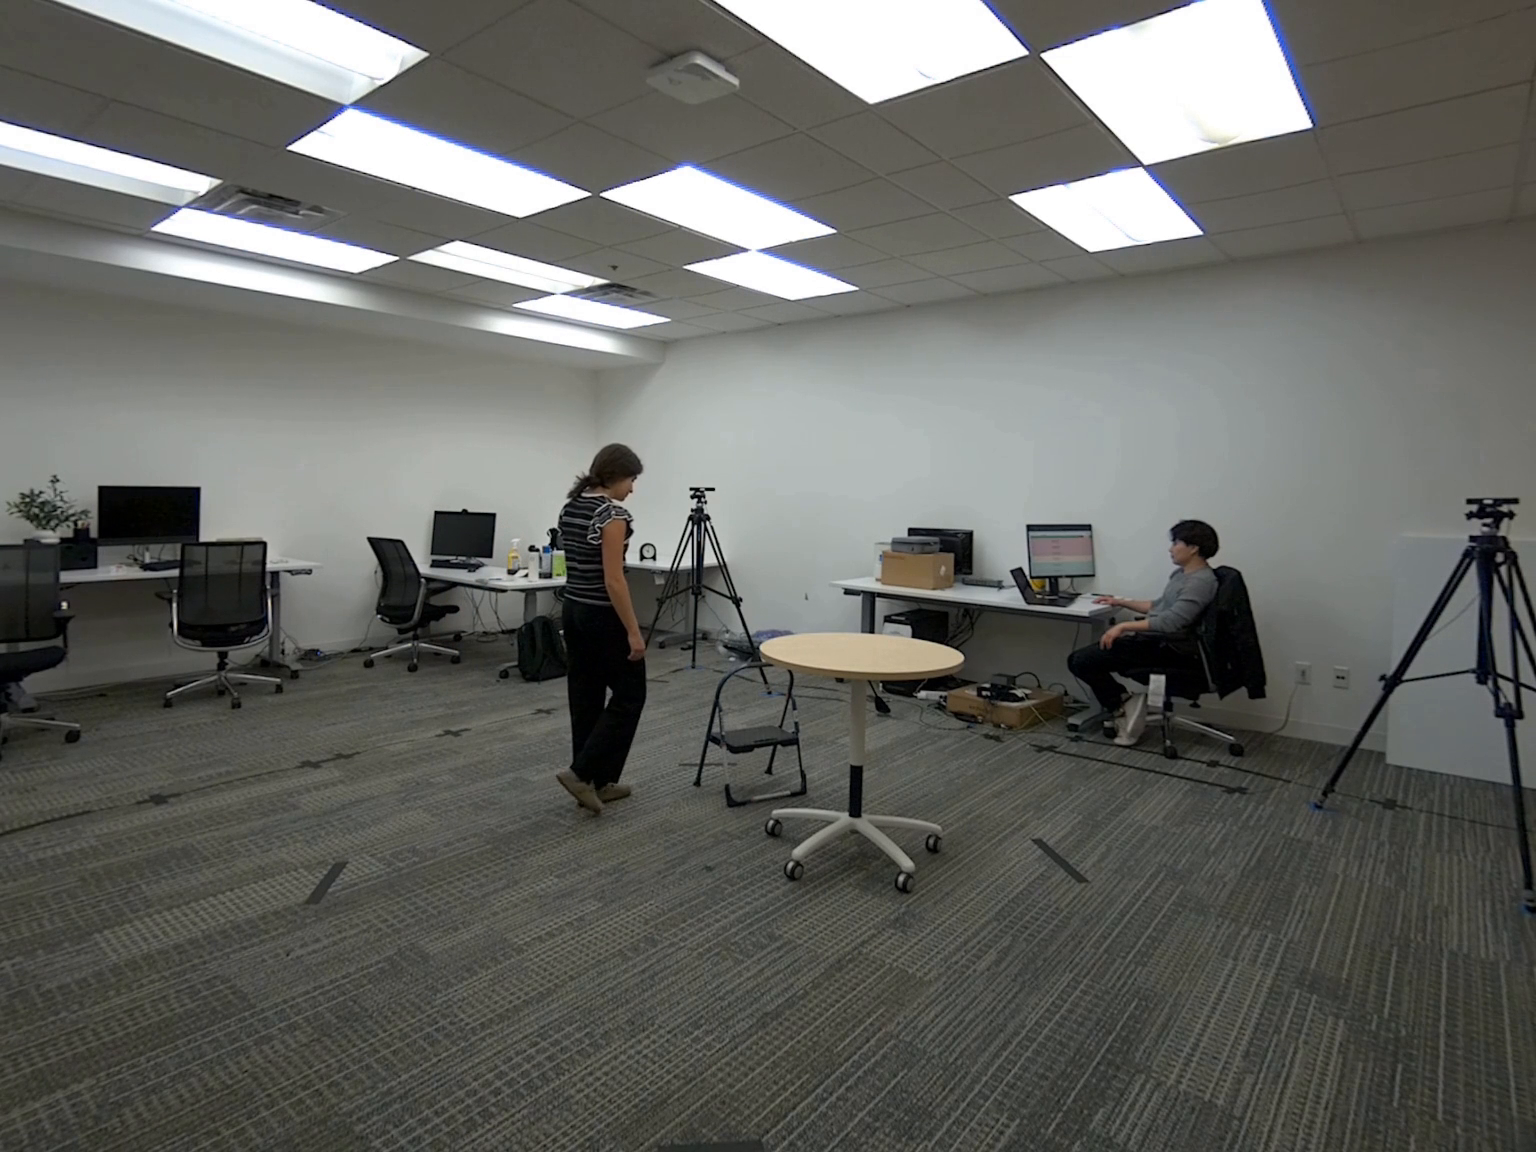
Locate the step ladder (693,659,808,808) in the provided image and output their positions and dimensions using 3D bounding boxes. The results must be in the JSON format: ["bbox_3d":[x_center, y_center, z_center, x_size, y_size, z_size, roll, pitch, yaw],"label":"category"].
[{"bbox_3d":[-0.091,0.688,3.941,0.419,0.604,0.360,-1,4,-31],"label":"step ladder"}]
